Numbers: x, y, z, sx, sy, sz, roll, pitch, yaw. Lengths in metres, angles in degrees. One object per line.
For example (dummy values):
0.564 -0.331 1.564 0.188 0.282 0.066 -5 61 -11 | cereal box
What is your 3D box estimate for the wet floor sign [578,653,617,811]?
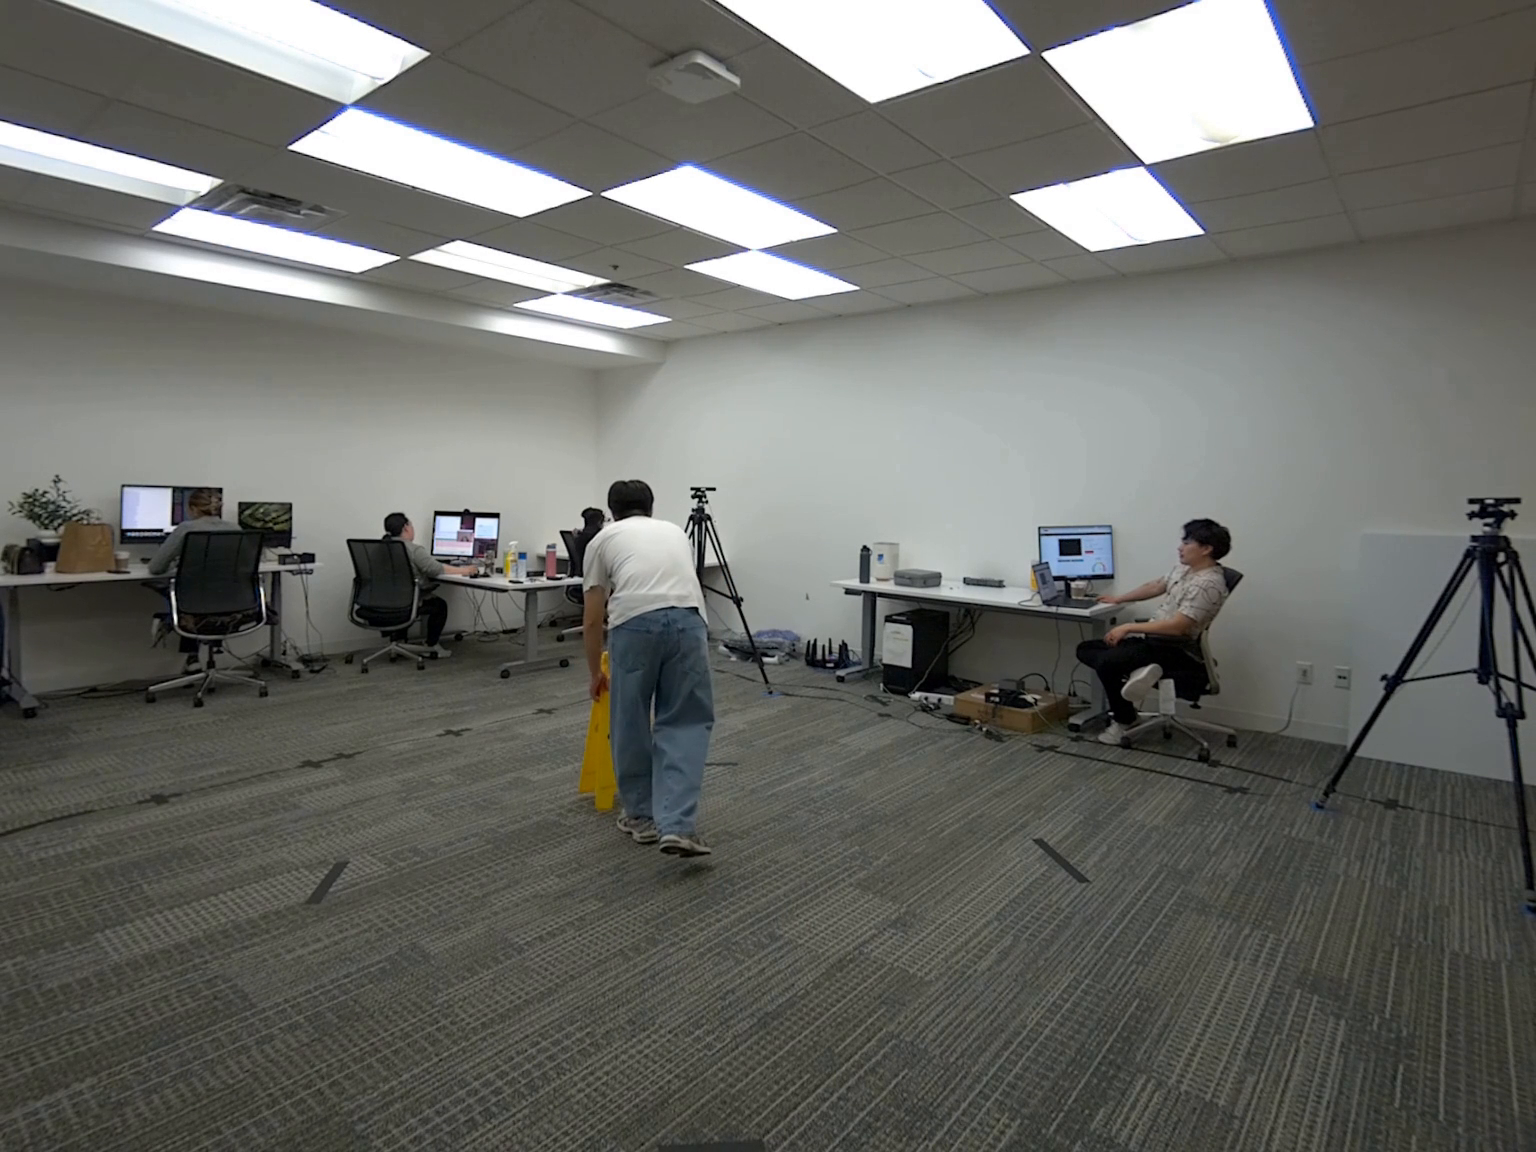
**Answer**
-0.647 0.640 3.755 0.275 0.646 0.297 4 0 -27 | wet floor sign
